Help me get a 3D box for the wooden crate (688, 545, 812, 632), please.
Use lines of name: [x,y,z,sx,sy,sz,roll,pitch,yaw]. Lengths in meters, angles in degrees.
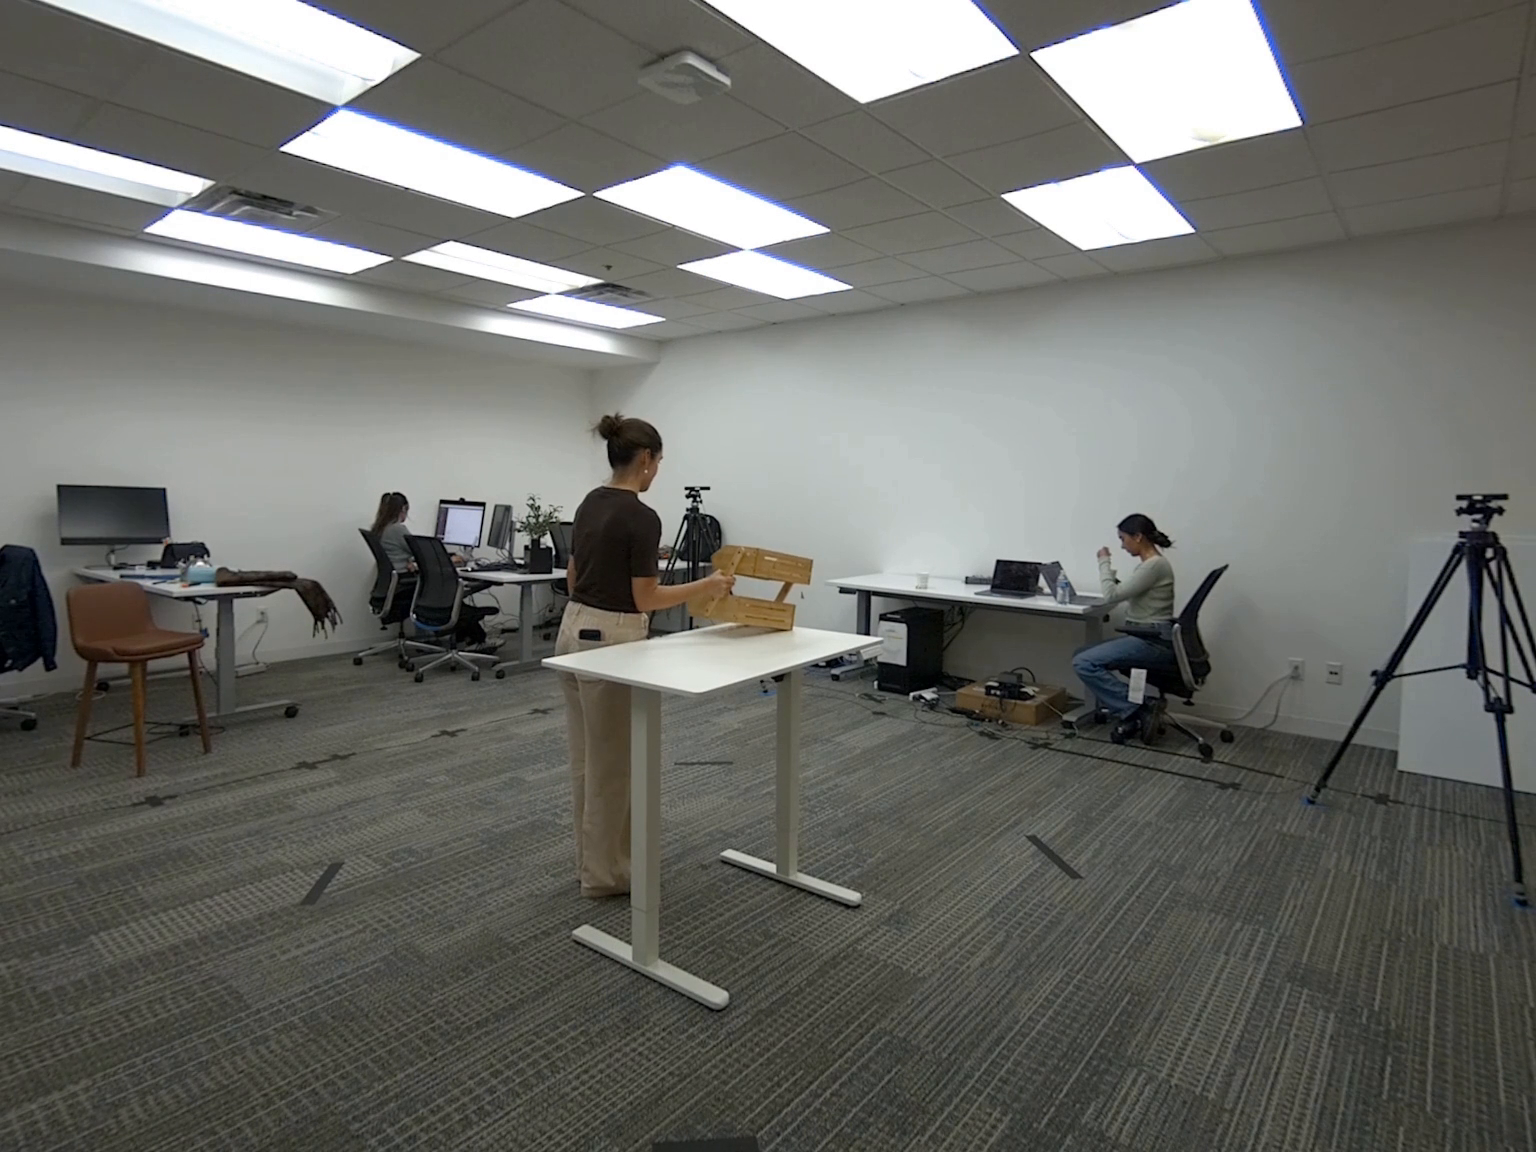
wooden crate: [-0.075,0.034,3.016,0.312,0.274,0.312,6,-4,45]
